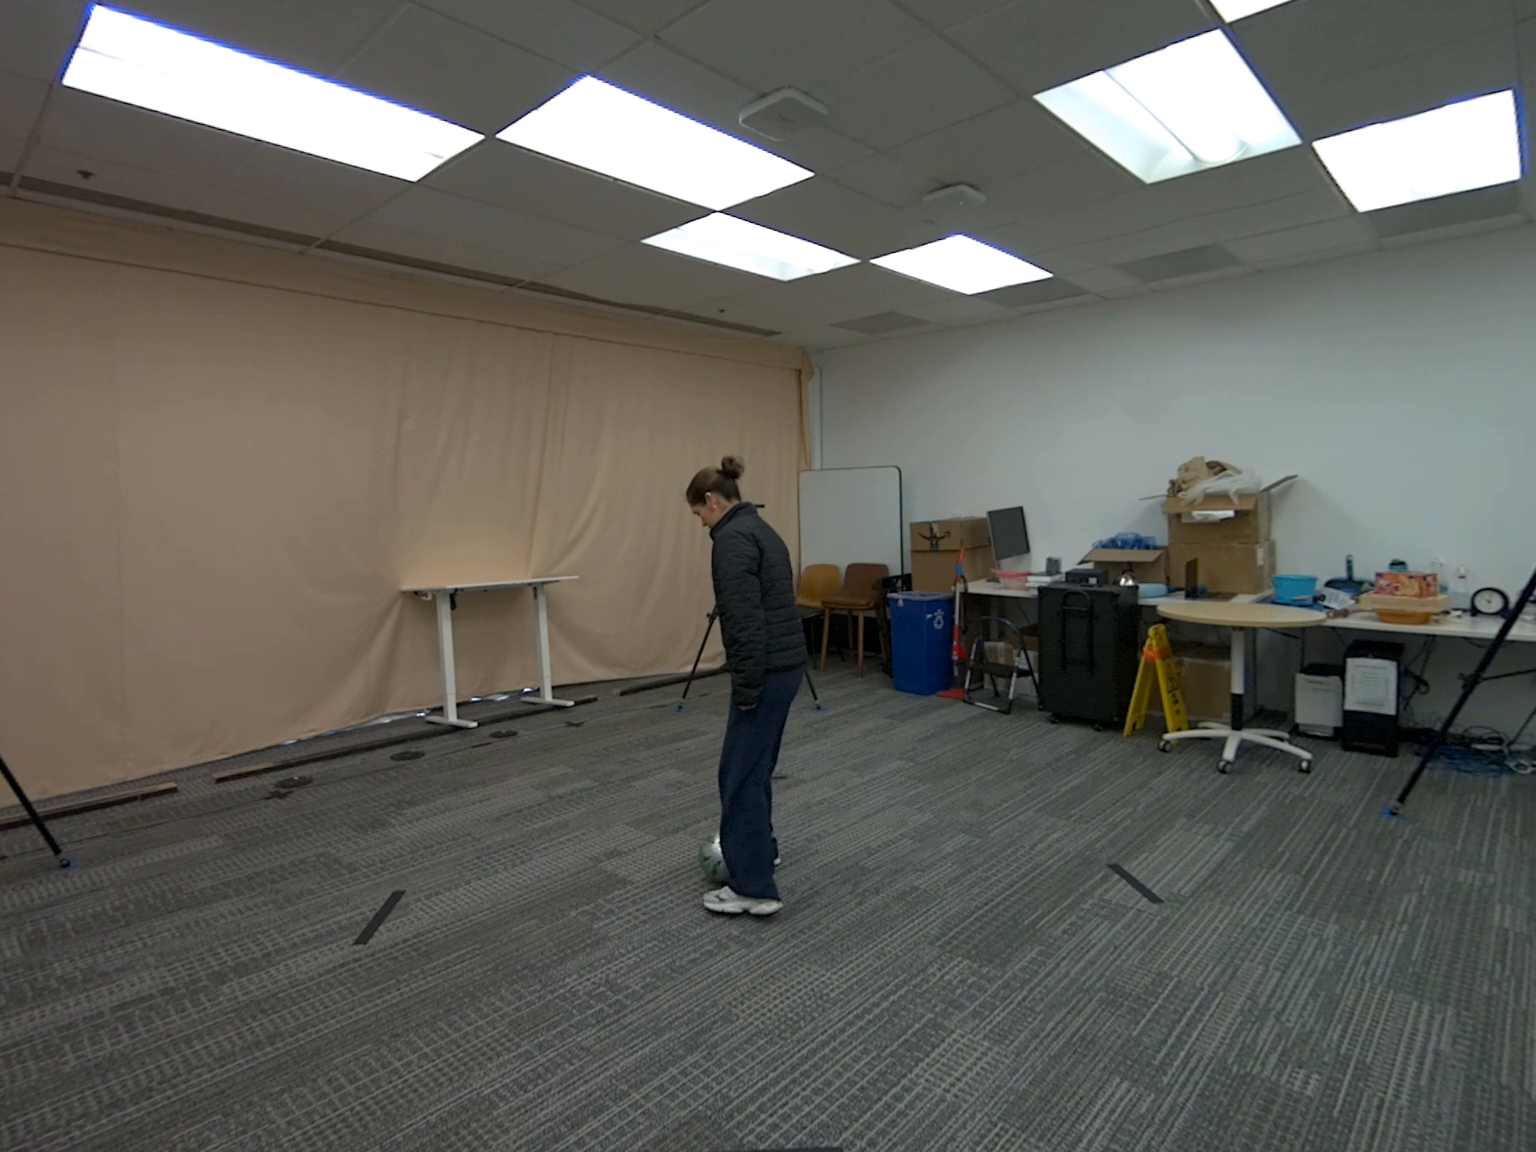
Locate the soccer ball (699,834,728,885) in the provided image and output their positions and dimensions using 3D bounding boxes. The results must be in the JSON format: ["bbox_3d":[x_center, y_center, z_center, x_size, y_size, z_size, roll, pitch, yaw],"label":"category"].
[{"bbox_3d":[-0.161,1.039,3.117,0.187,0.187,0.188,-1,4,-2],"label":"soccer ball"}]
